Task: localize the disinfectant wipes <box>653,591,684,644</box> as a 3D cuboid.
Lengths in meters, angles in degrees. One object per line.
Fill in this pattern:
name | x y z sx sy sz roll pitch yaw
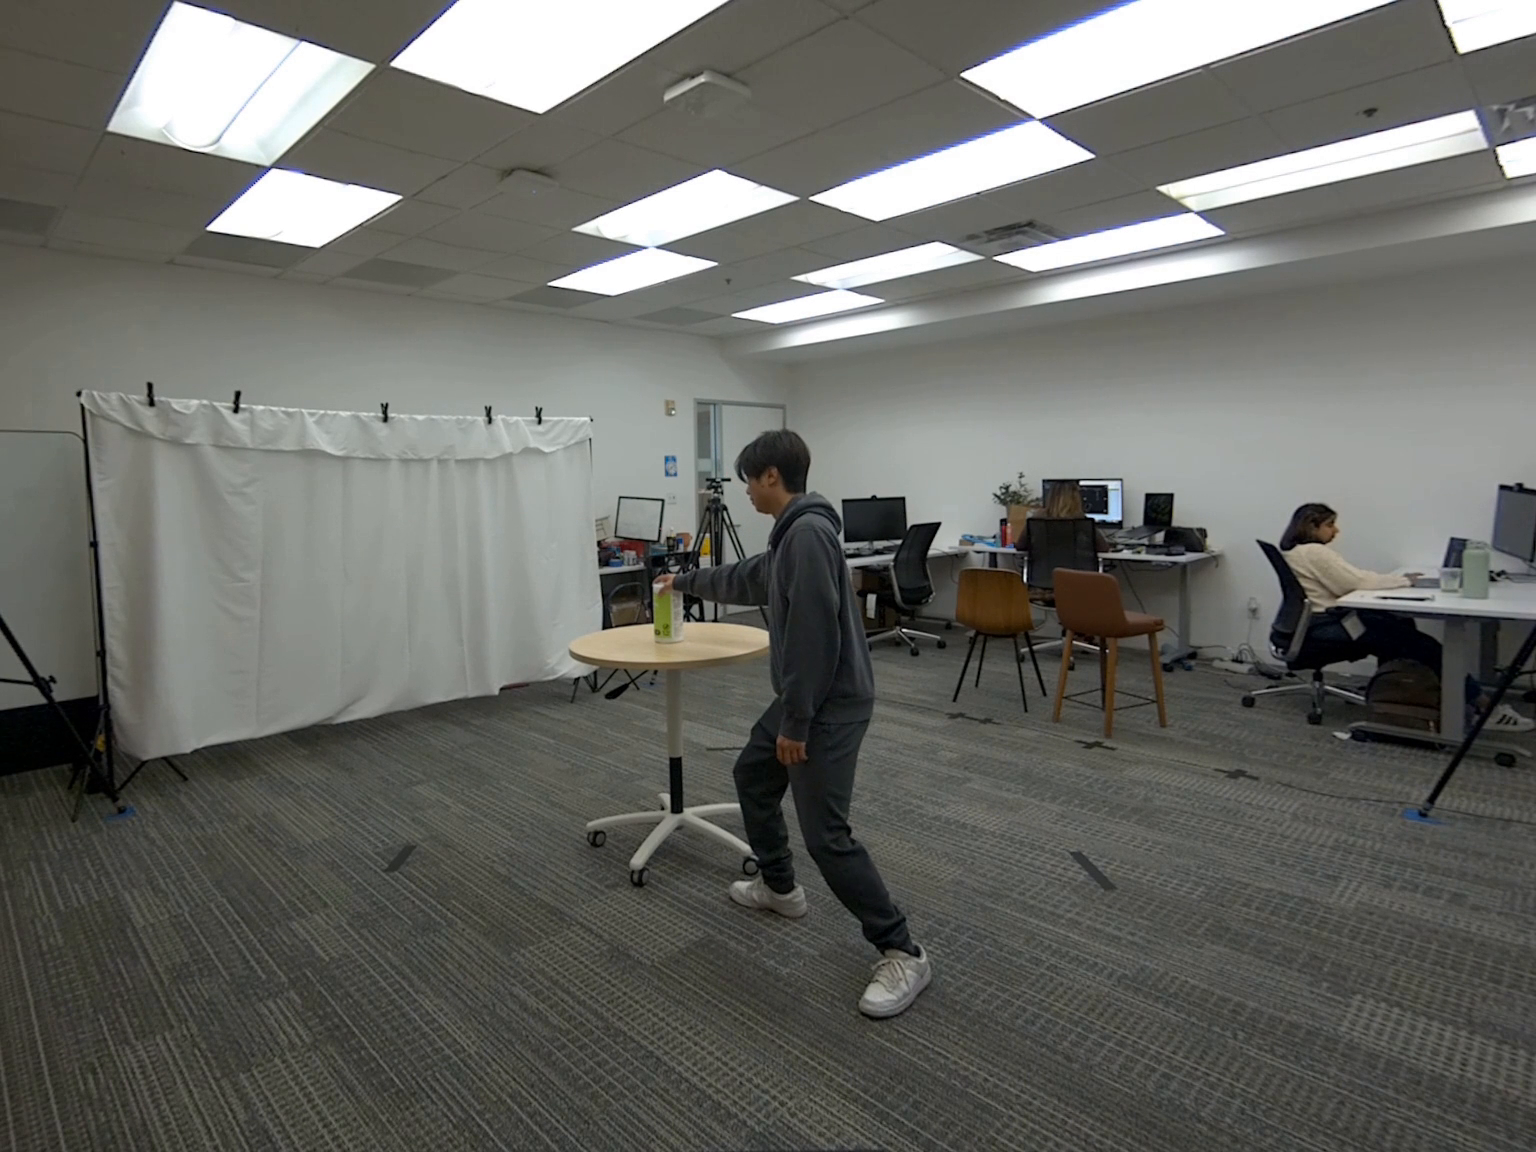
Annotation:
disinfectant wipes | -0.369 0.136 3.180 0.118 0.217 0.118 0 4 -2
